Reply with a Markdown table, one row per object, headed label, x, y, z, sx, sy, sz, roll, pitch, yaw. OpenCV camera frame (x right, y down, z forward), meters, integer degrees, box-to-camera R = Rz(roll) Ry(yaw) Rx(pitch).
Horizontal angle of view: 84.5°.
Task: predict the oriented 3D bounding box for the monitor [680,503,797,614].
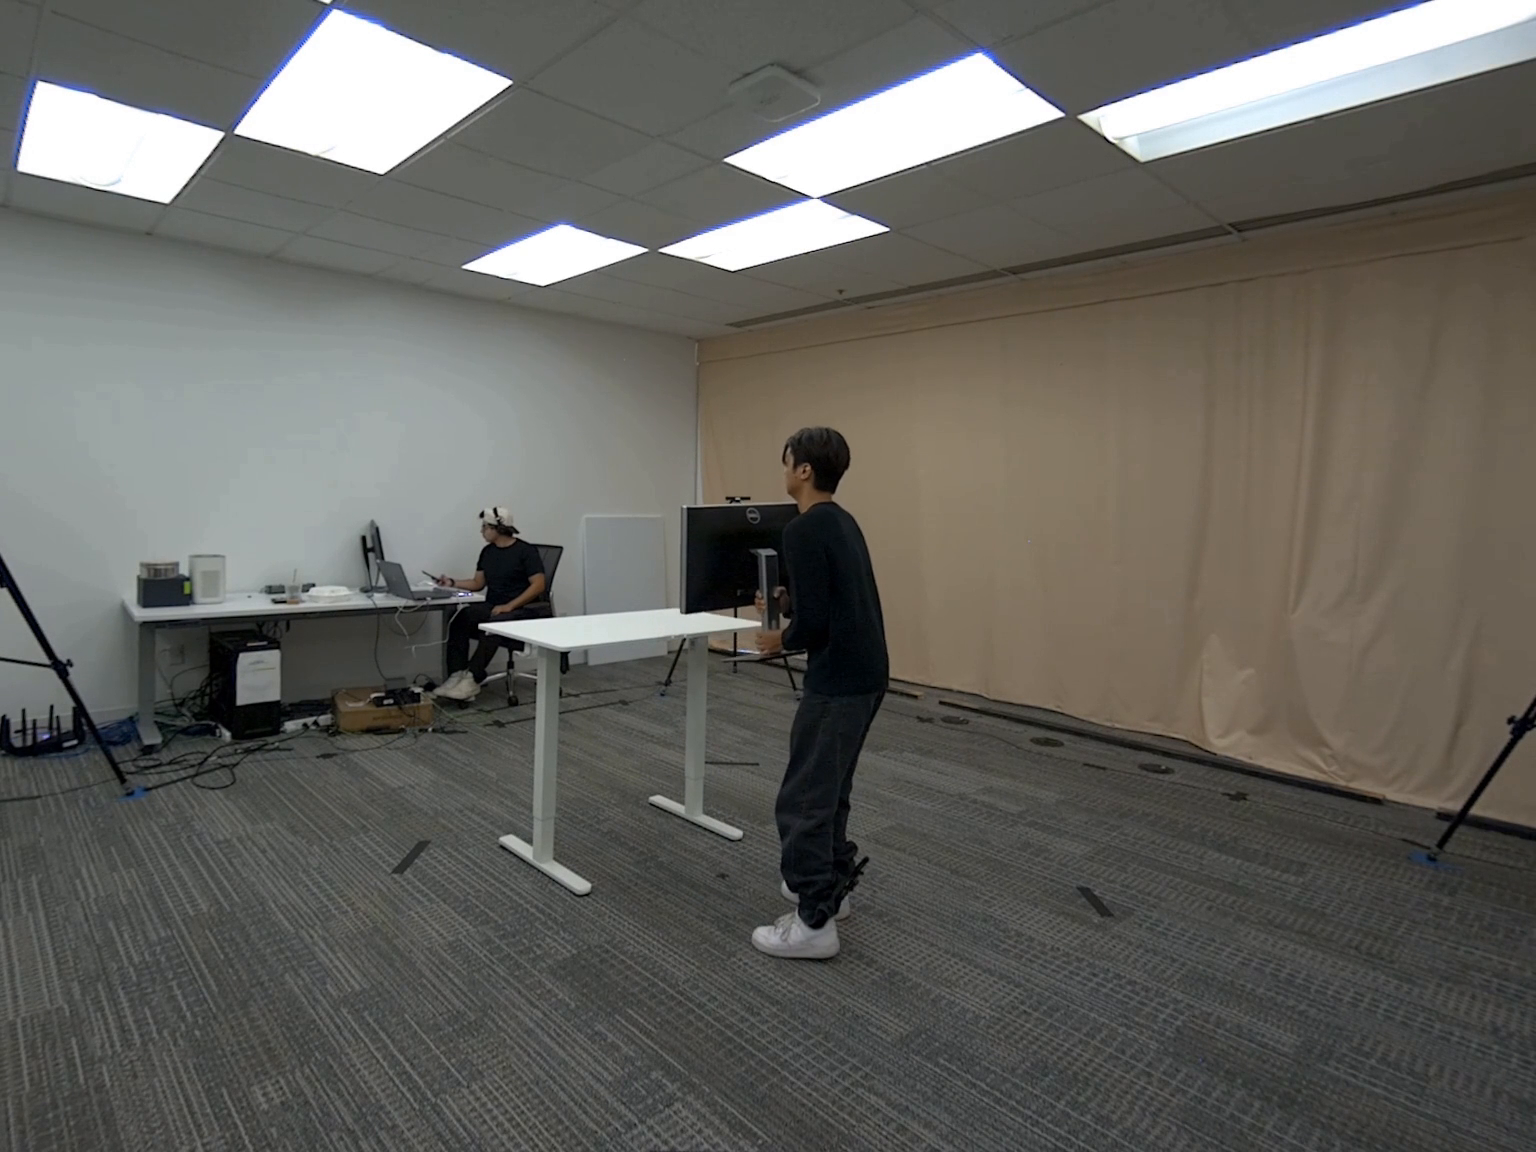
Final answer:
| label | x | y | z | sx | sy | sz | roll | pitch | yaw |
| --- | --- | --- | --- | --- | --- | --- | --- | --- | --- |
| monitor | -0.053 | 0.018 | 2.929 | 0.519 | 0.519 | 0.177 | -7 | -8 | -40 |
